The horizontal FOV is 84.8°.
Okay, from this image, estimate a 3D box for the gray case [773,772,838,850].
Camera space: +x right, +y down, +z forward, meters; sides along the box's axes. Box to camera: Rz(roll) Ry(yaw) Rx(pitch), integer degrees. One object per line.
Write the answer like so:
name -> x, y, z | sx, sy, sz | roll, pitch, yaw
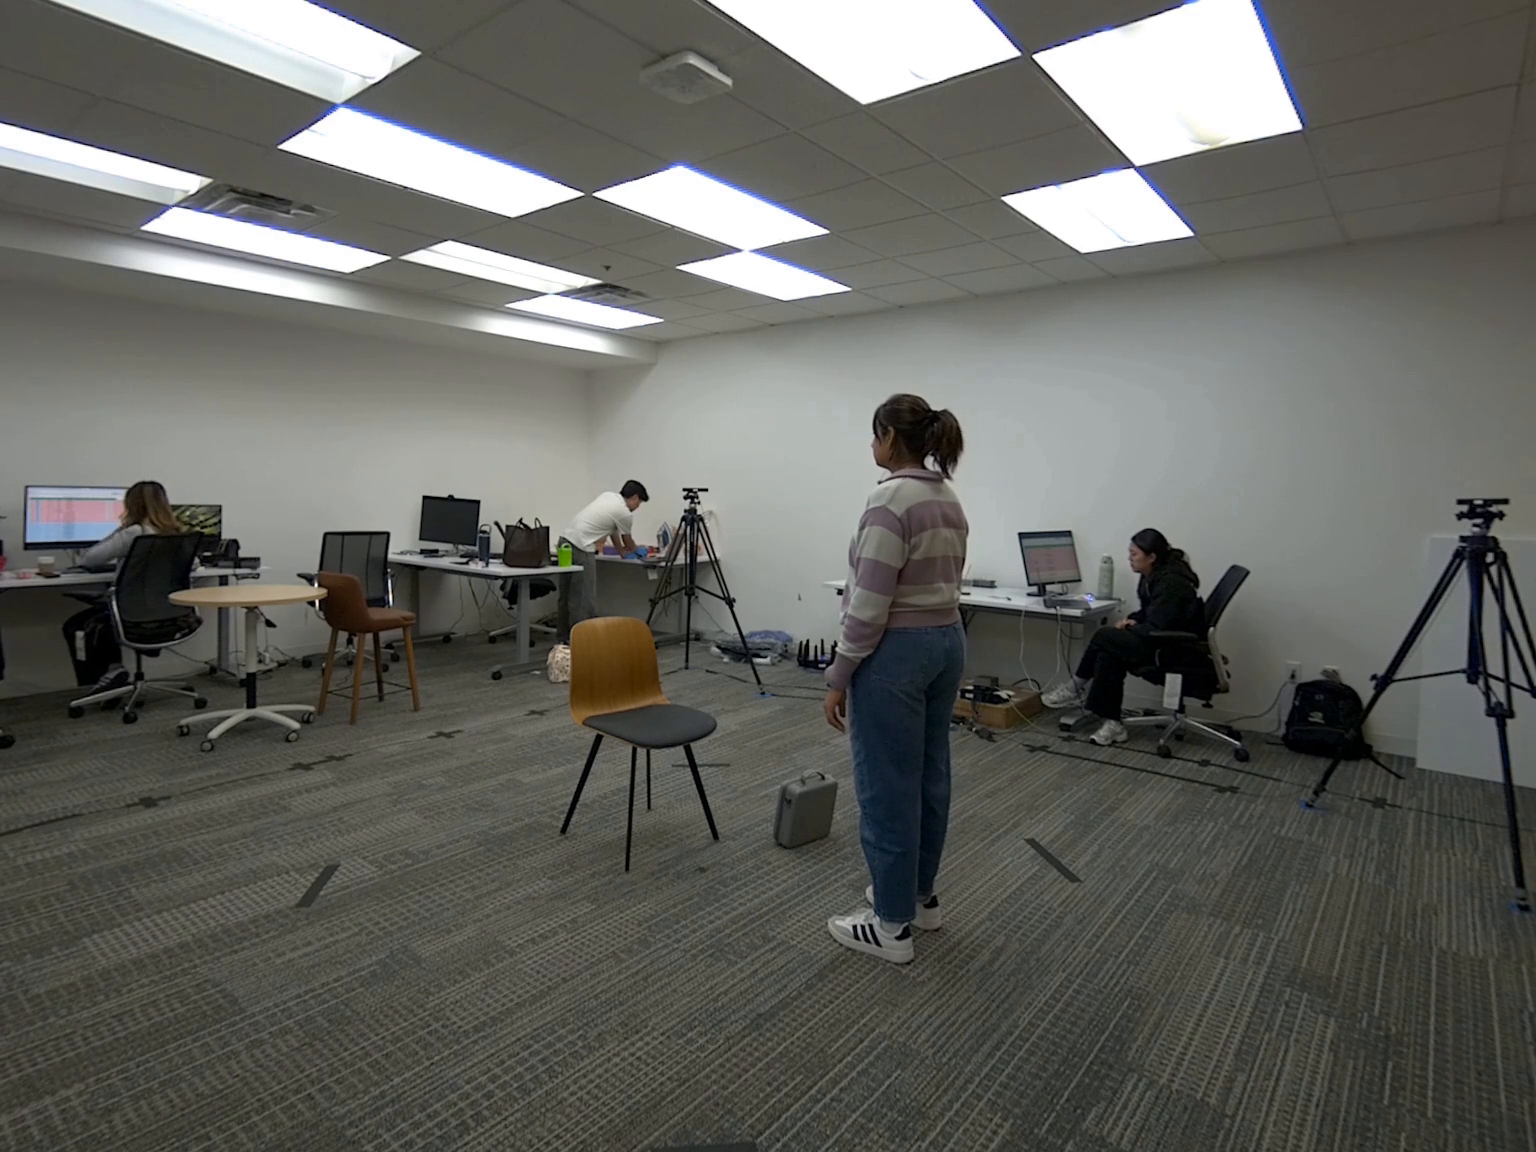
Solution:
gray case -> 0.140, 0.913, 3.380 | 0.249, 0.259, 0.108 | -1, 10, -37
